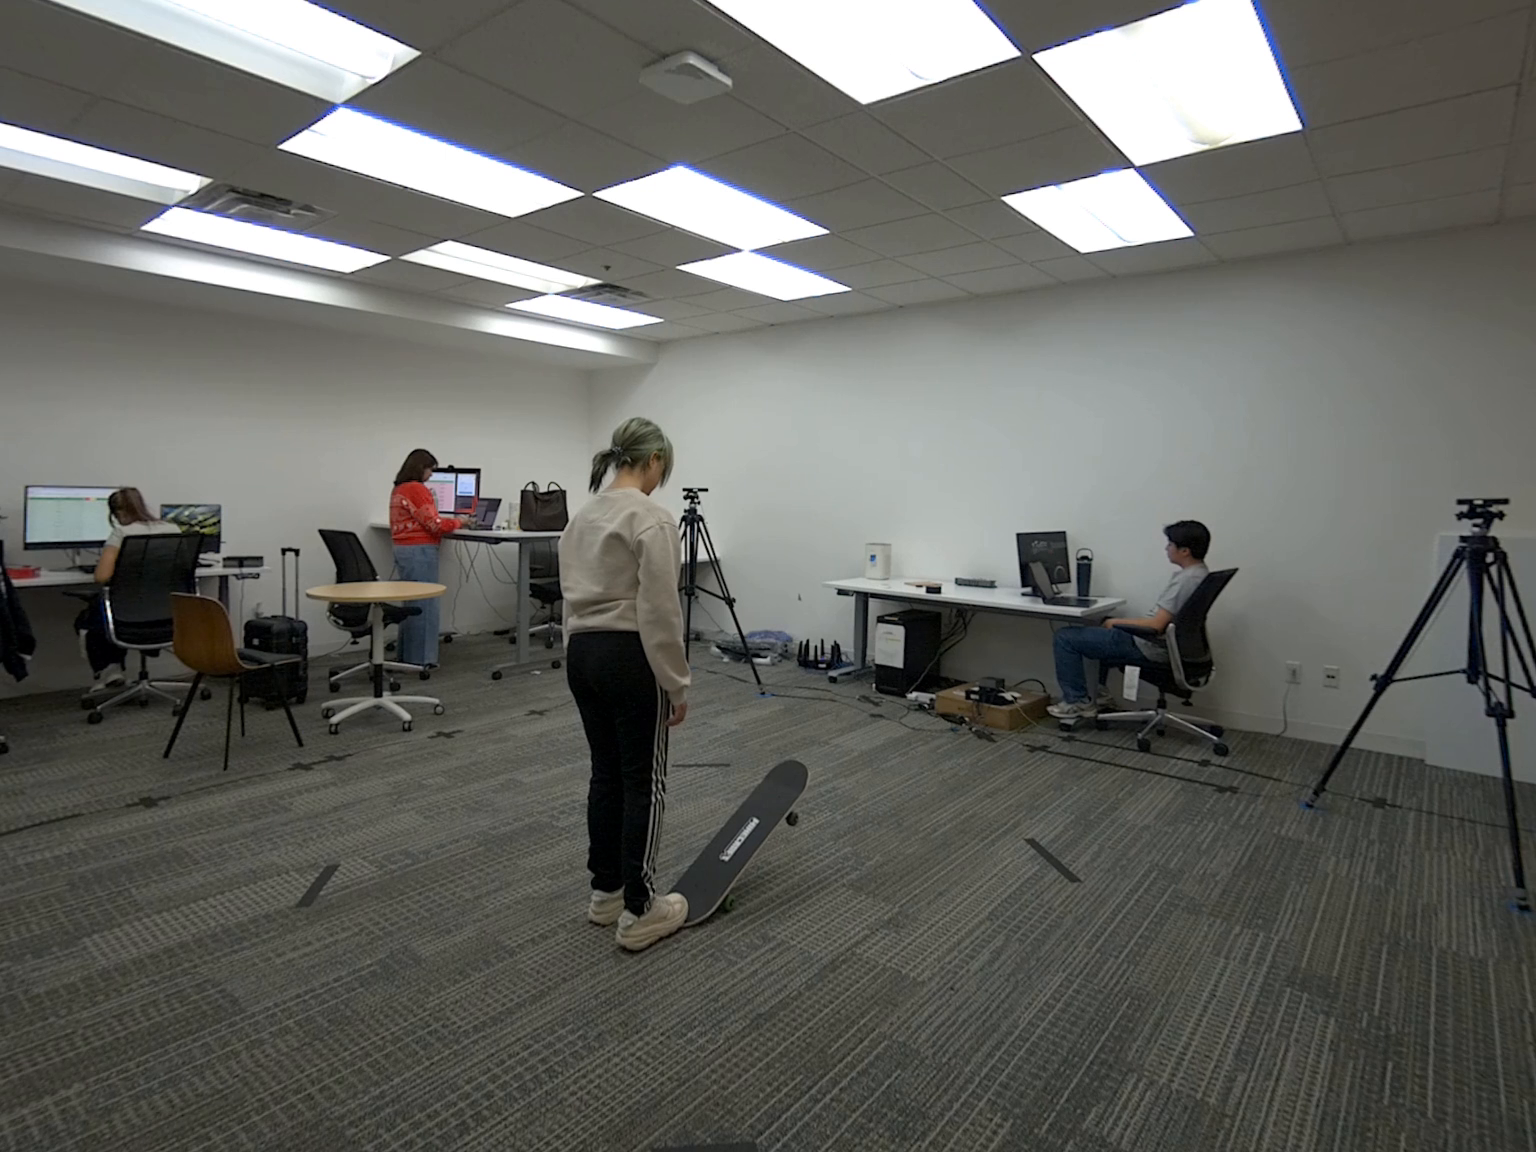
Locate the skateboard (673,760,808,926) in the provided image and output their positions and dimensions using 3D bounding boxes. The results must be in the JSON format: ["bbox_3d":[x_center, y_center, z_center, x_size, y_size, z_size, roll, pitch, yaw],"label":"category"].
[{"bbox_3d":[-0.093,0.947,2.981,0.200,0.107,0.782,3,34,38],"label":"skateboard"}]
